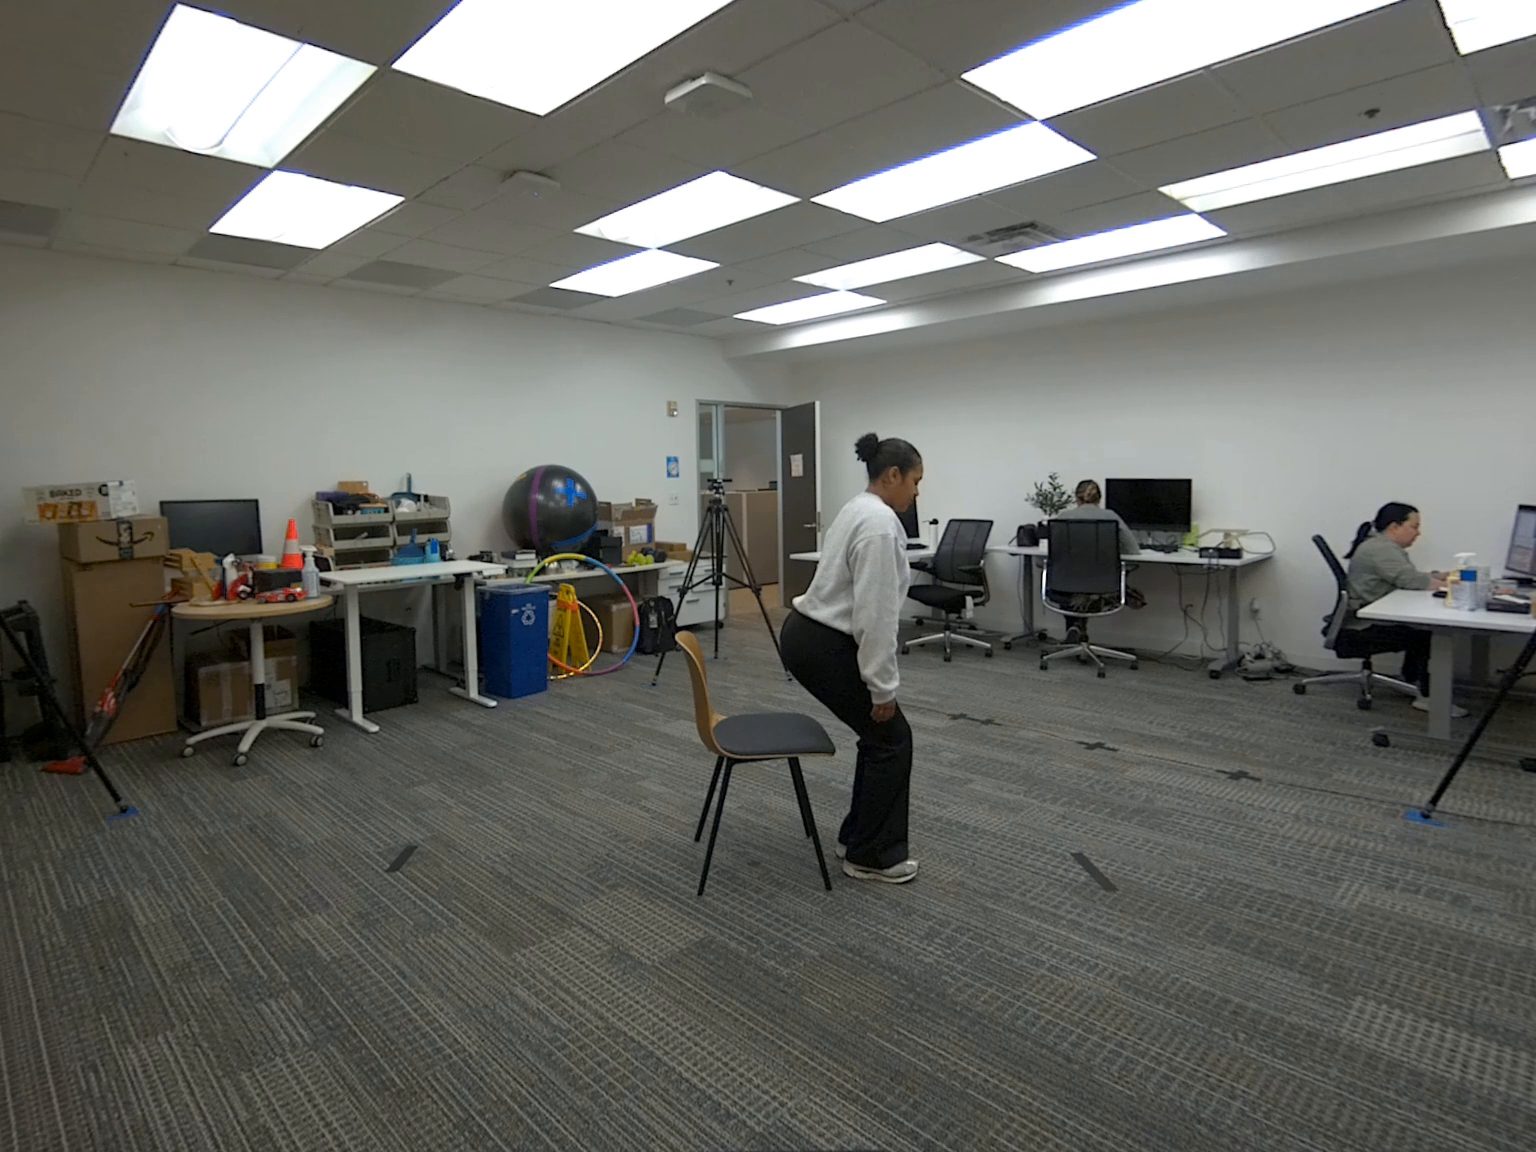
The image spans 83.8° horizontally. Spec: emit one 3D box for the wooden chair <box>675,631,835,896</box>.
[{"bbox_3d":[-0.033,0.617,3.067,0.521,0.874,0.482,-5,4,-5],"label":"wooden chair"}]
